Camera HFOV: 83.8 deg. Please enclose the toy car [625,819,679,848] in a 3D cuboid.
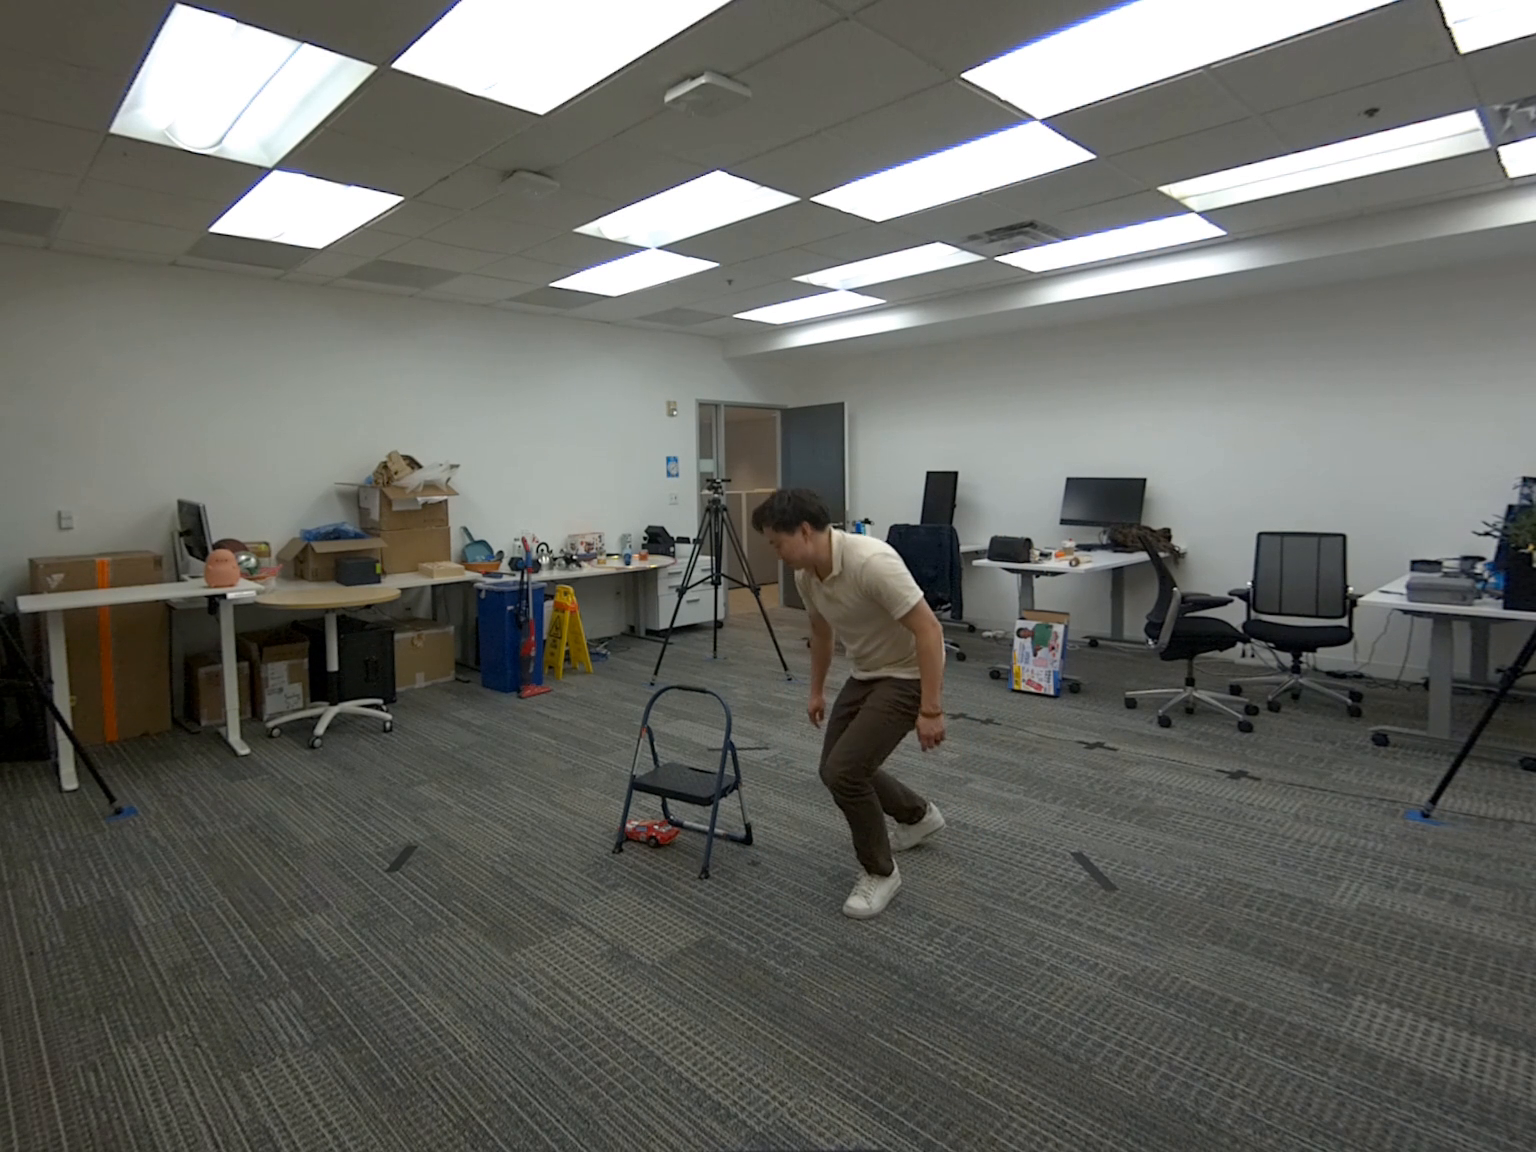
[{"bbox_3d":[-0.458,0.995,3.318,0.259,0.083,0.127,-11,0,30],"label":"toy car"}]
